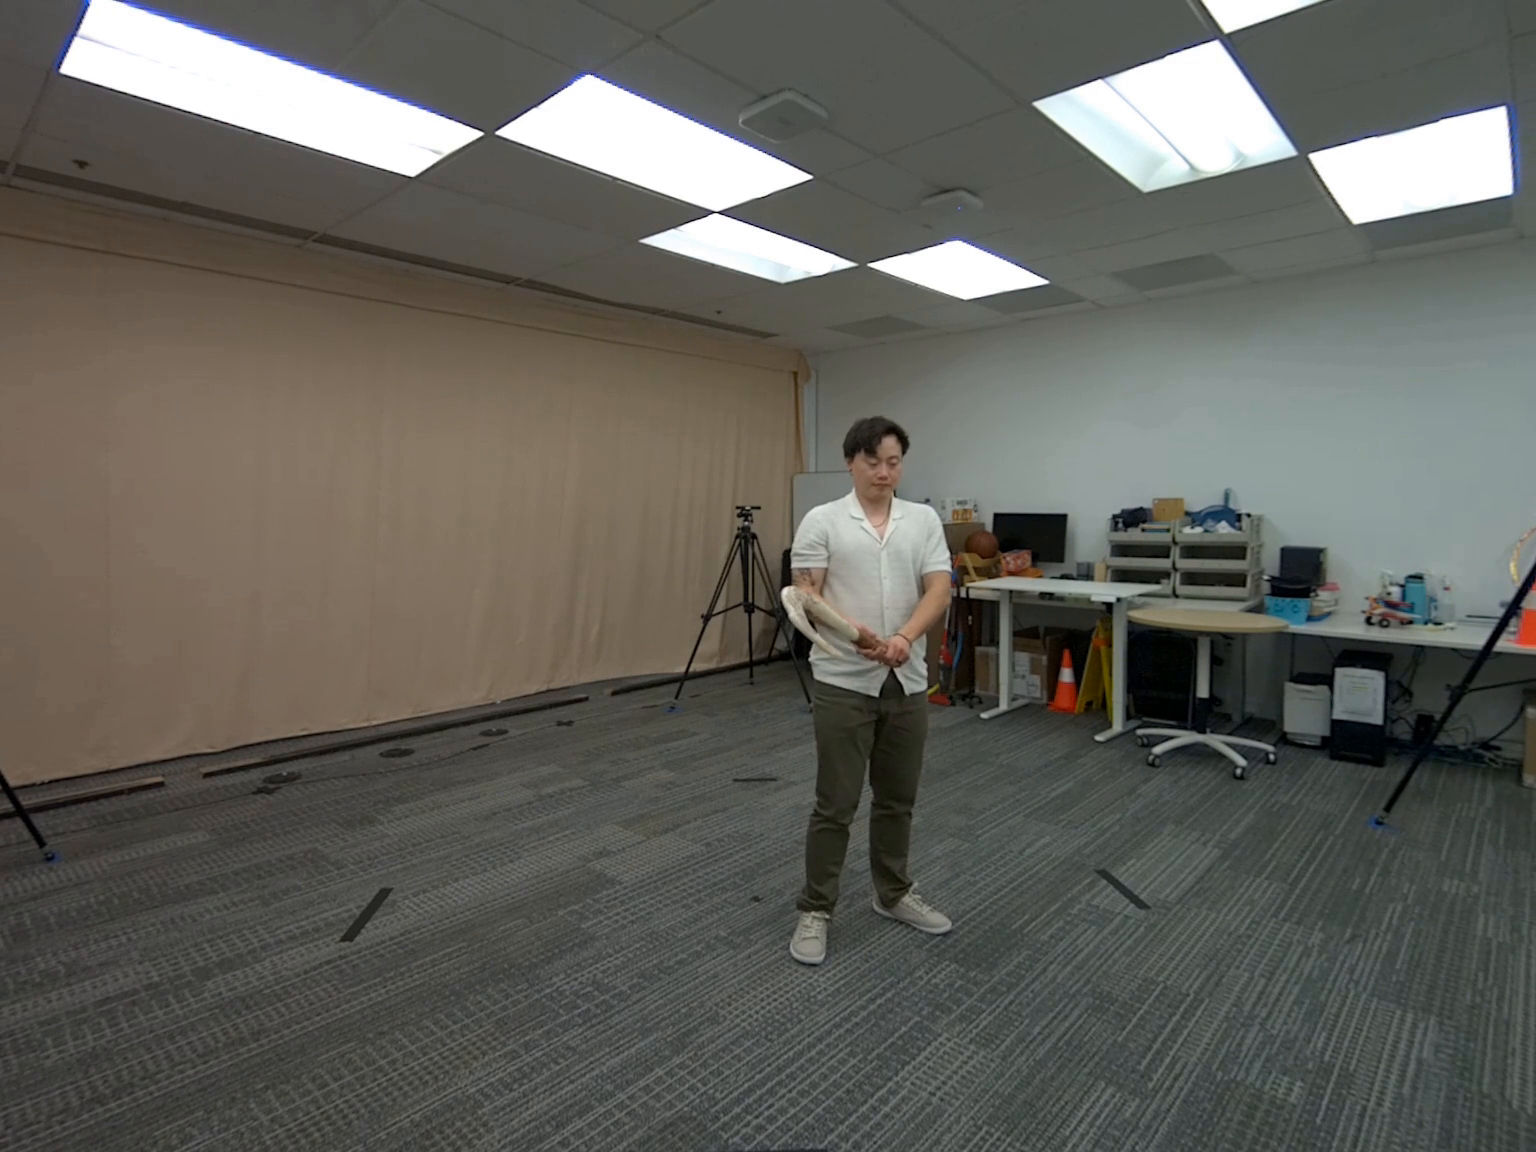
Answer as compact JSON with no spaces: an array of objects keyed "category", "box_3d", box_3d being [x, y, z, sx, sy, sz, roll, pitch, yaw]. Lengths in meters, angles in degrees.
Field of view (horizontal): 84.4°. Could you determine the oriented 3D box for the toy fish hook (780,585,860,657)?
[{"category":"toy fish hook","box_3d":[0.224,0.180,2.357,0.489,0.230,0.049,30,-60,-34]}]
